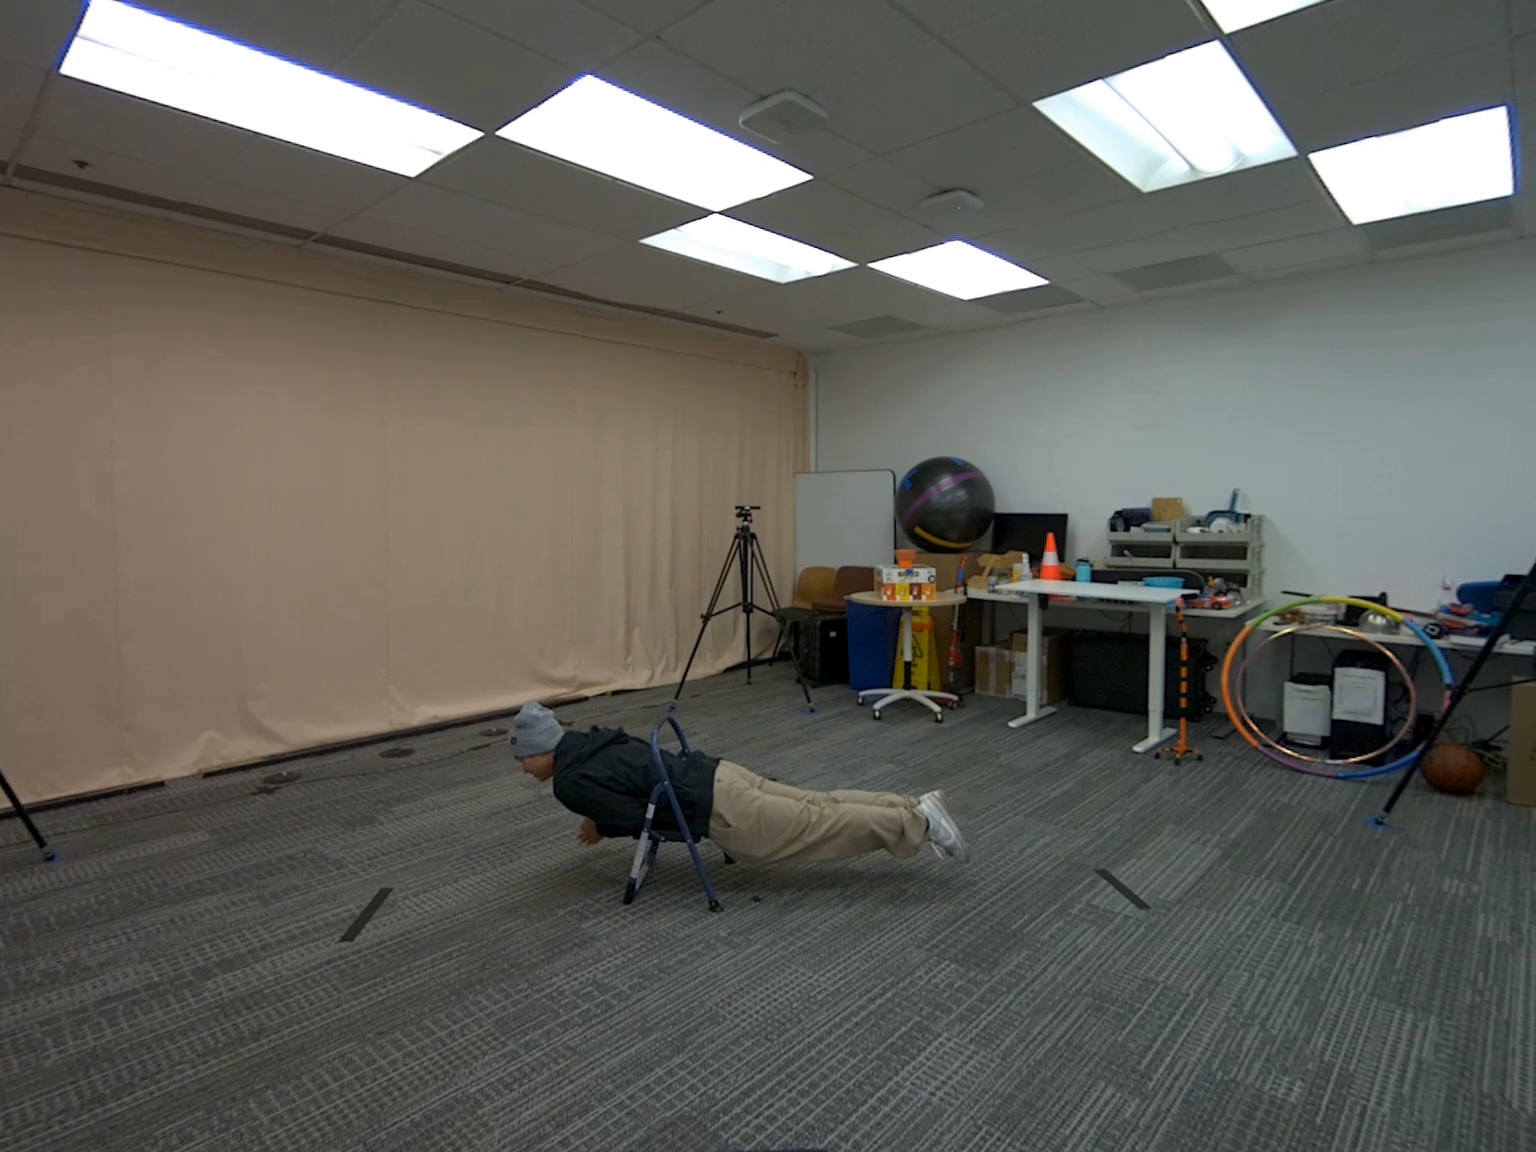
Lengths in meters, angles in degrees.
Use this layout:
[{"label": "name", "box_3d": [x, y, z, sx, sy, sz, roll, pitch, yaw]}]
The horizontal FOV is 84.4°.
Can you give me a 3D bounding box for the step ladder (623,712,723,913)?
[{"label": "step ladder", "box_3d": [-0.321, 0.839, 3.104, 0.351, 0.605, 0.429, -1, 3, 5]}]
